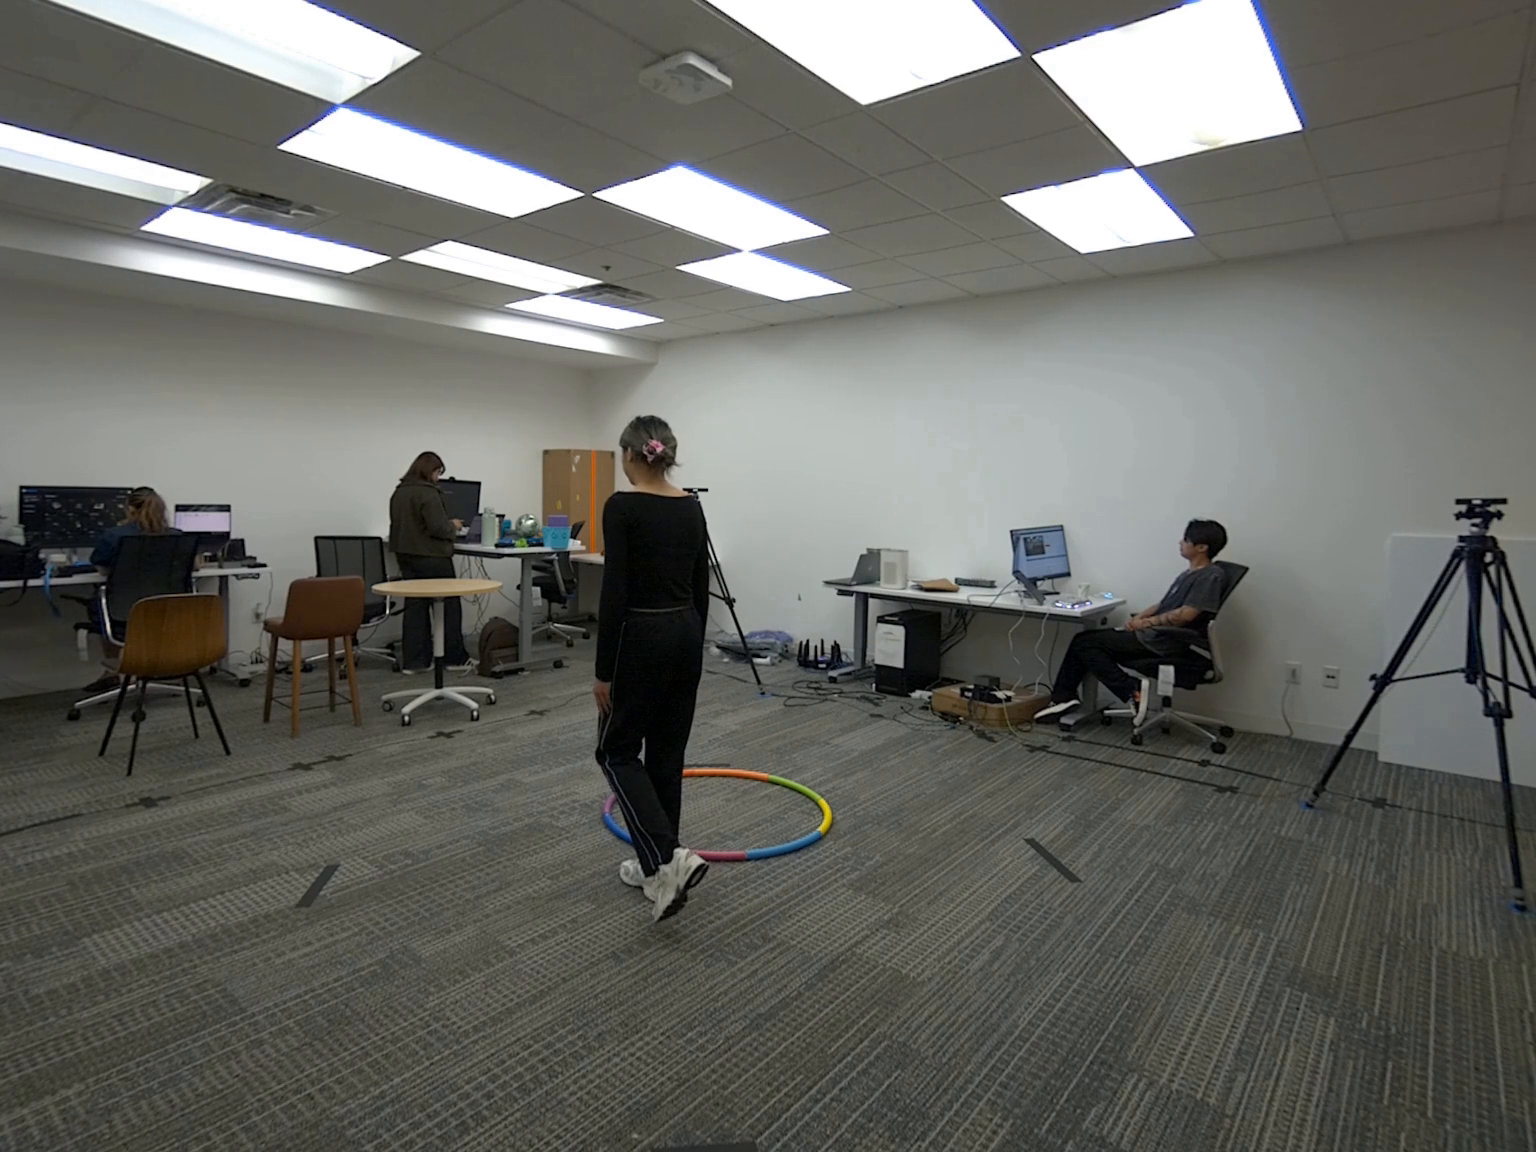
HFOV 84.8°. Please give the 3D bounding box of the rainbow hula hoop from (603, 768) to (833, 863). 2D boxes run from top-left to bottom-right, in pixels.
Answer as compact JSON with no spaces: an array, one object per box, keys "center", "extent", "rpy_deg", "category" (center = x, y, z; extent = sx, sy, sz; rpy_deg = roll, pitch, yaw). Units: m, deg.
[{"center":[-0.230,0.985,3.652],"extent":[0.978,0.035,0.984],"rpy_deg":[1,6,-2],"category":"rainbow hula hoop"}]
